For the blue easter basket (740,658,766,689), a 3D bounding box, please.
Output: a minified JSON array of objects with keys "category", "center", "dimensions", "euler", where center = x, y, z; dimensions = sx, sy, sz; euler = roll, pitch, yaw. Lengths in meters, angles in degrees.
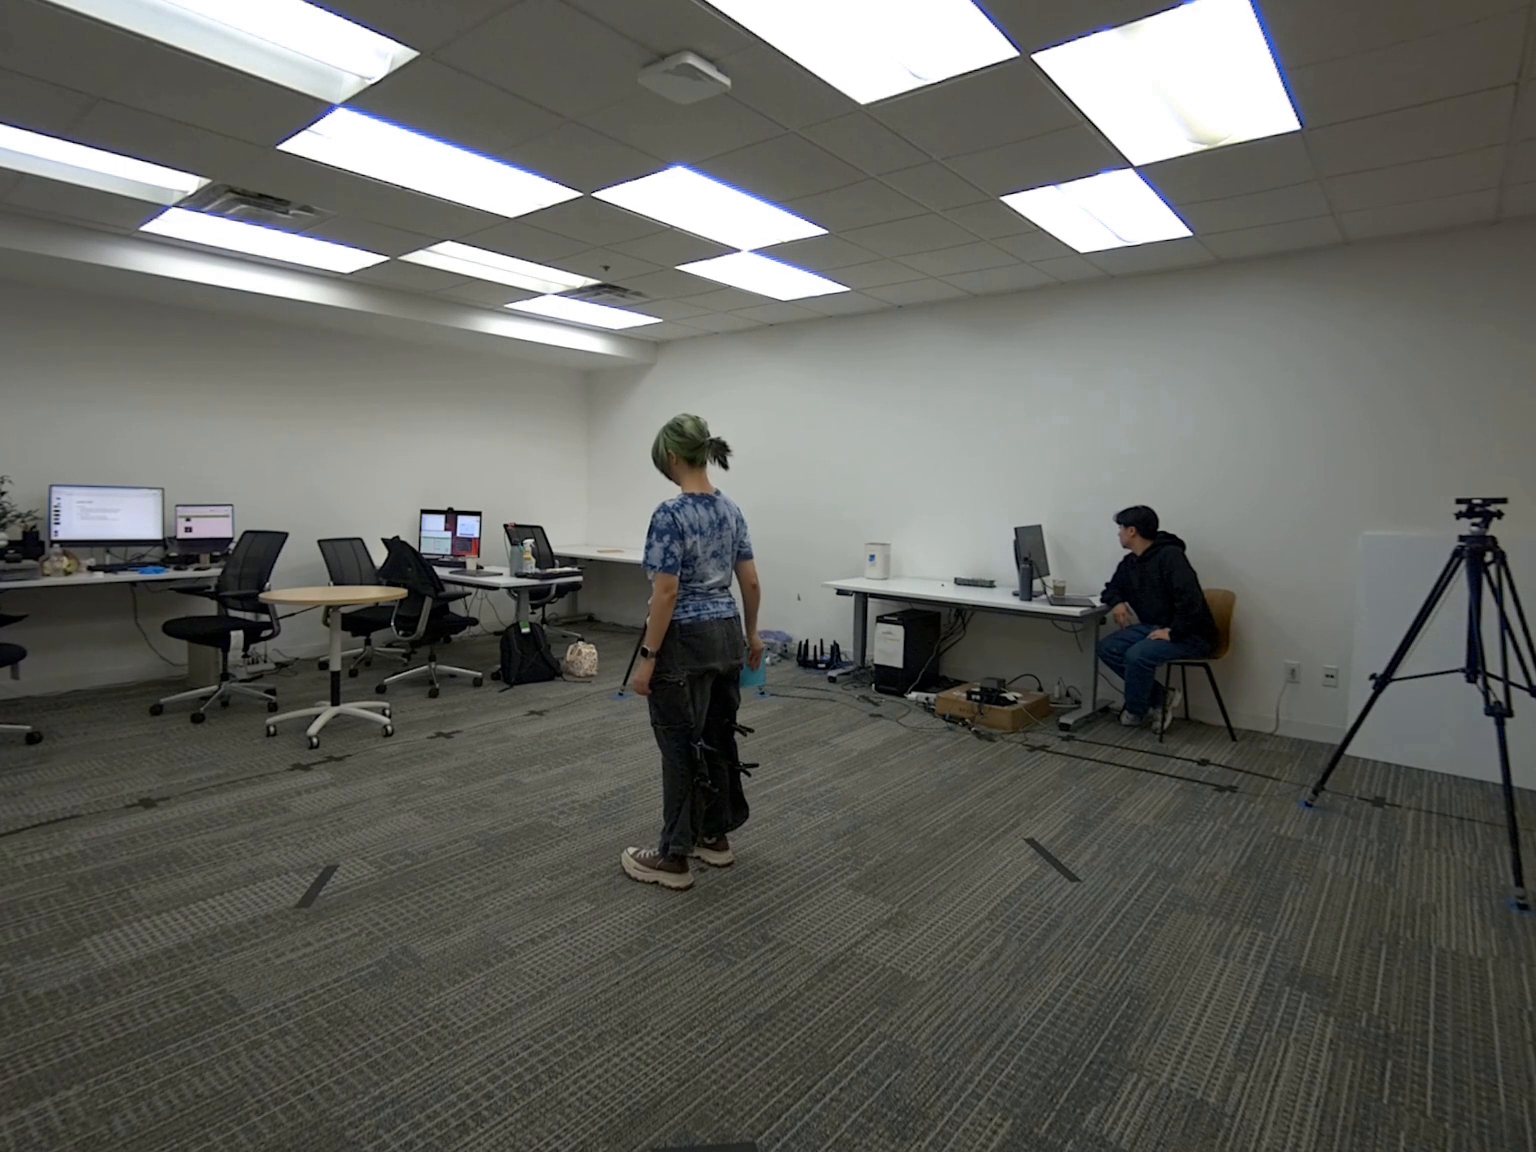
[{"category":"blue easter basket","center":[-0.119,0.354,3.406],"dimensions":[0.243,0.157,0.242],"euler":[-5,-6,-2]}]
